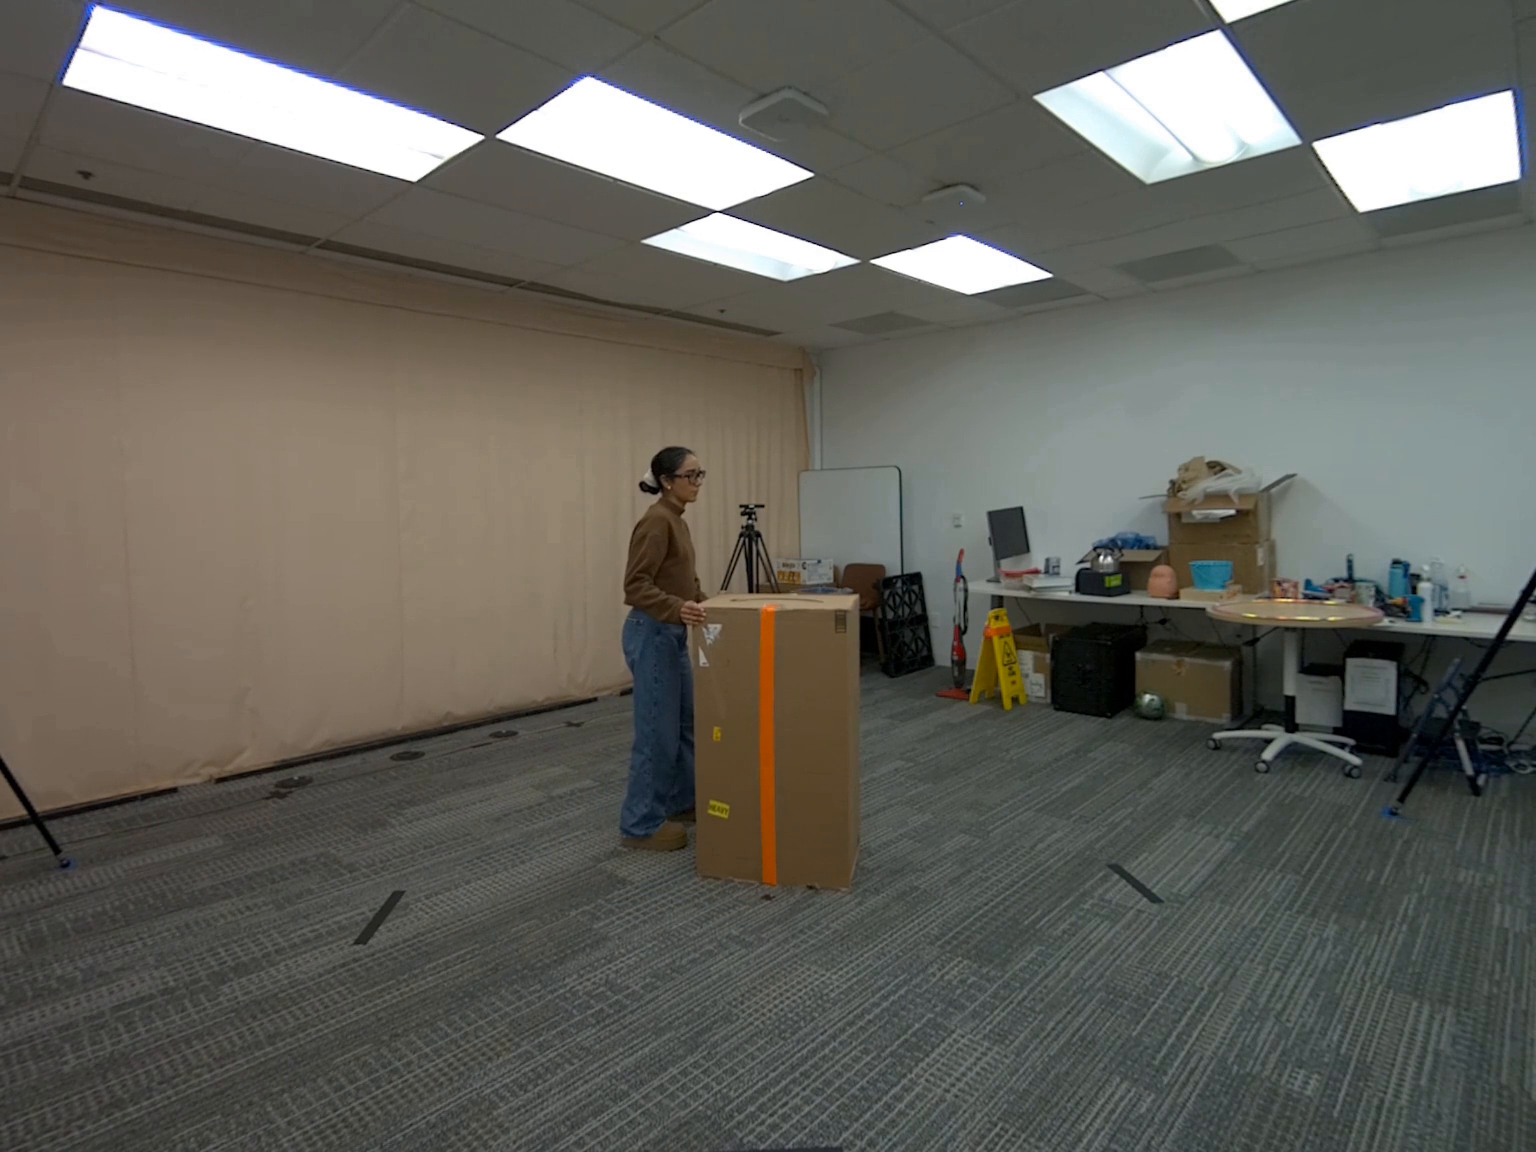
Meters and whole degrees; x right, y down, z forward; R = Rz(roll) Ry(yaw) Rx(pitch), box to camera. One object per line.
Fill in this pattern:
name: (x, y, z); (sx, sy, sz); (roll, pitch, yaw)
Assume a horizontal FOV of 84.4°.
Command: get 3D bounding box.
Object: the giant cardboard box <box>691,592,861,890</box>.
giant cardboard box: (0.050, 0.603, 3.254); (0.587, 1.023, 0.420); (0, 4, 15)
